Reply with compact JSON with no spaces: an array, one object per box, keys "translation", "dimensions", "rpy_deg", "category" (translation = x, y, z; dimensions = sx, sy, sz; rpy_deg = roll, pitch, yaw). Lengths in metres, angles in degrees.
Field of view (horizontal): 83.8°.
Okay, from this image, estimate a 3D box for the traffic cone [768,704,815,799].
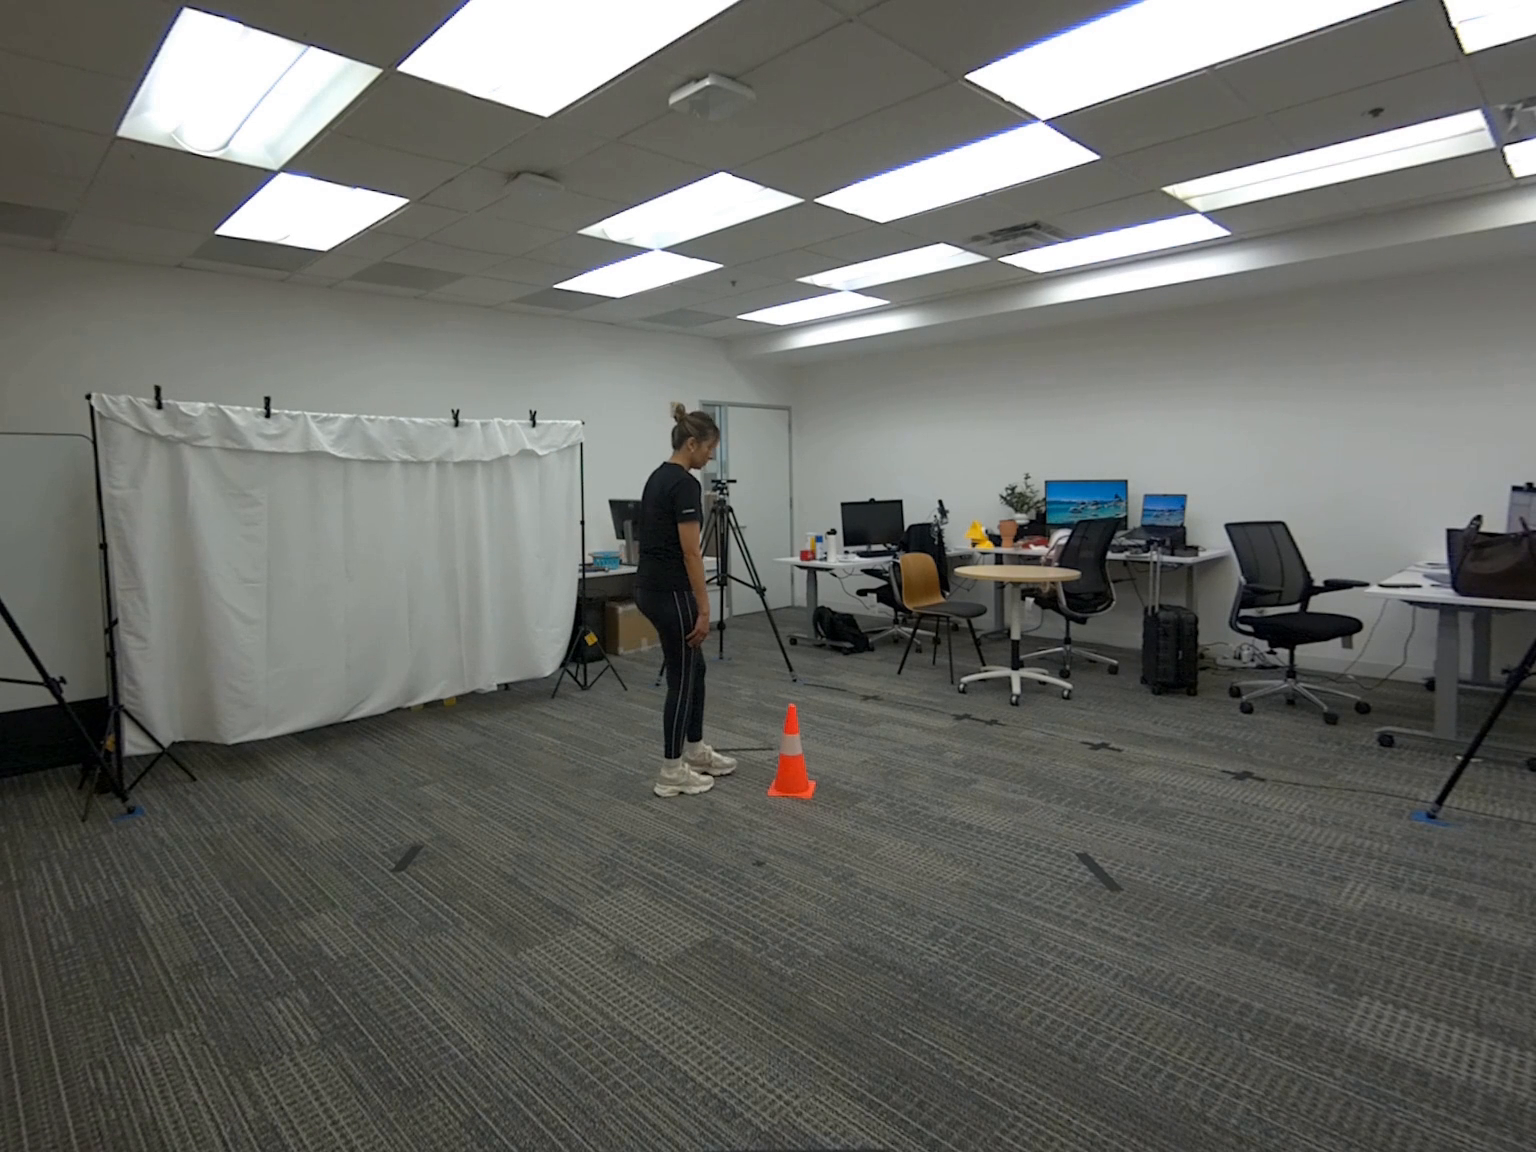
[{"translation":[0.105,0.777,3.850],"dimensions":[0.206,0.382,0.202],"rpy_deg":[0,3,15],"category":"traffic cone"}]
